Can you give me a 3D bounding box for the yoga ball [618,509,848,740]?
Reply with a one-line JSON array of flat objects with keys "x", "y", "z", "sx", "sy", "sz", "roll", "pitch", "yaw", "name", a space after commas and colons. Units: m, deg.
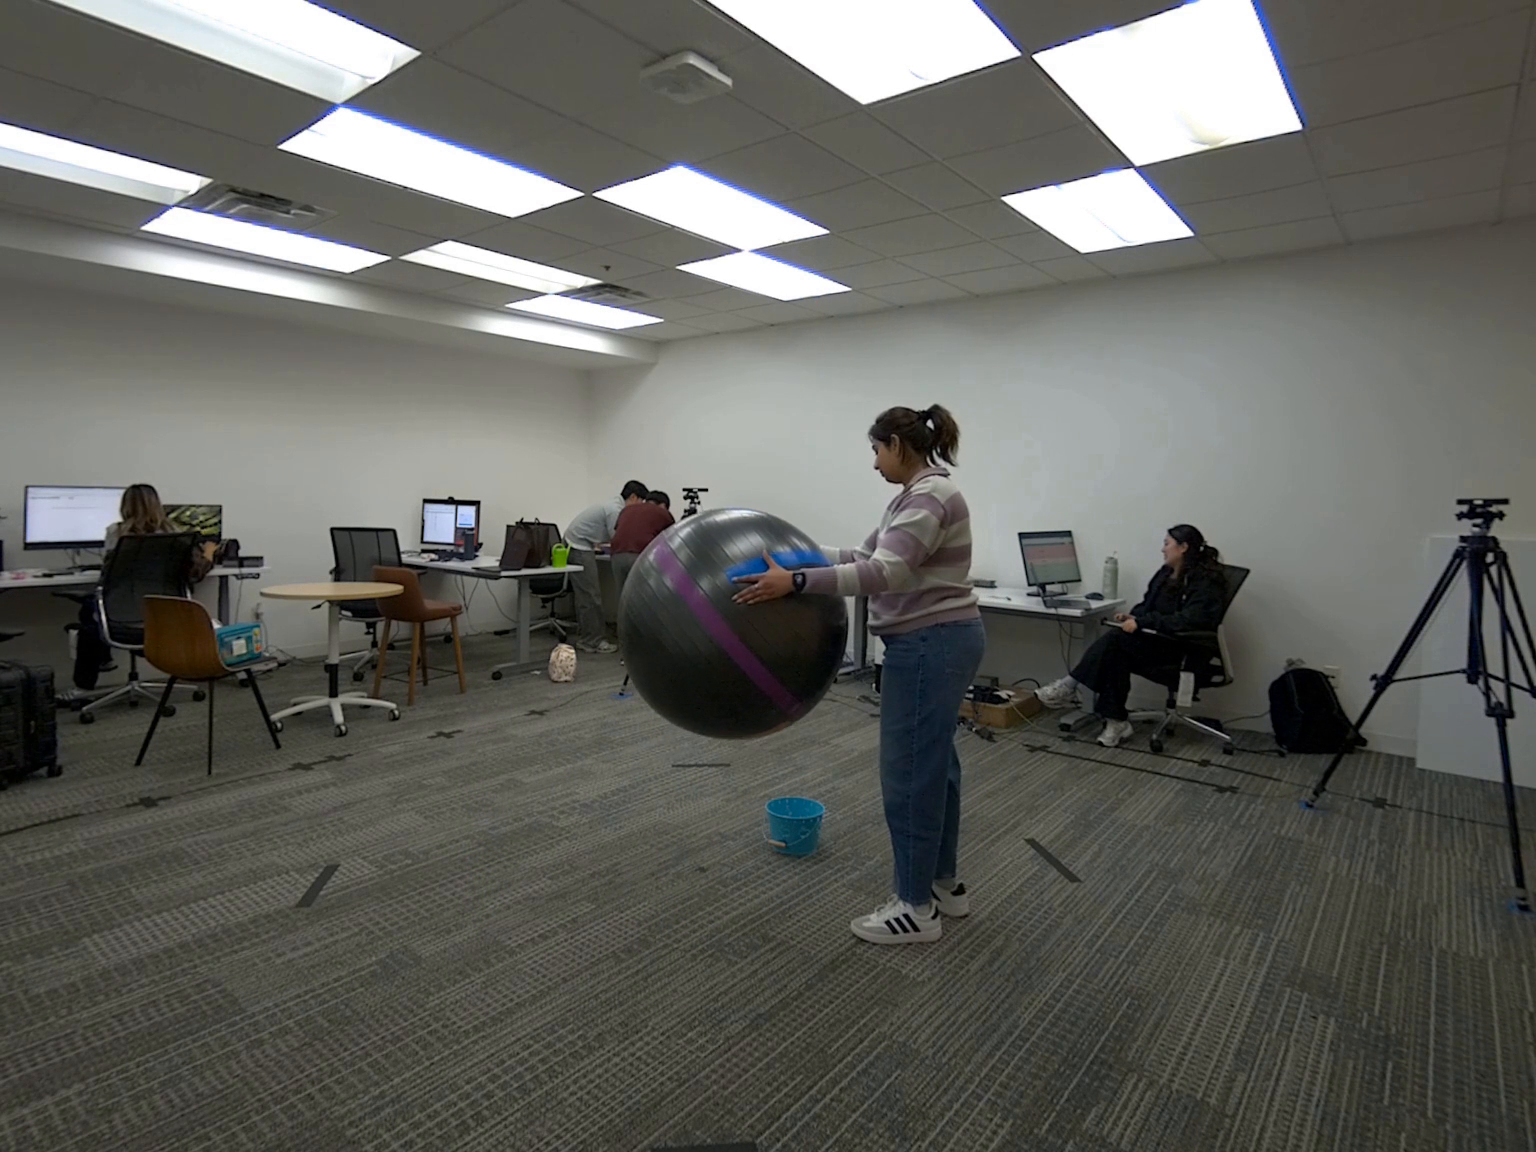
[{"x": -0.126, "y": 0.160, "z": 2.825, "sx": 0.757, "sy": 0.755, "sz": 0.762, "roll": 1, "pitch": 4, "yaw": -2, "name": "yoga ball"}]
